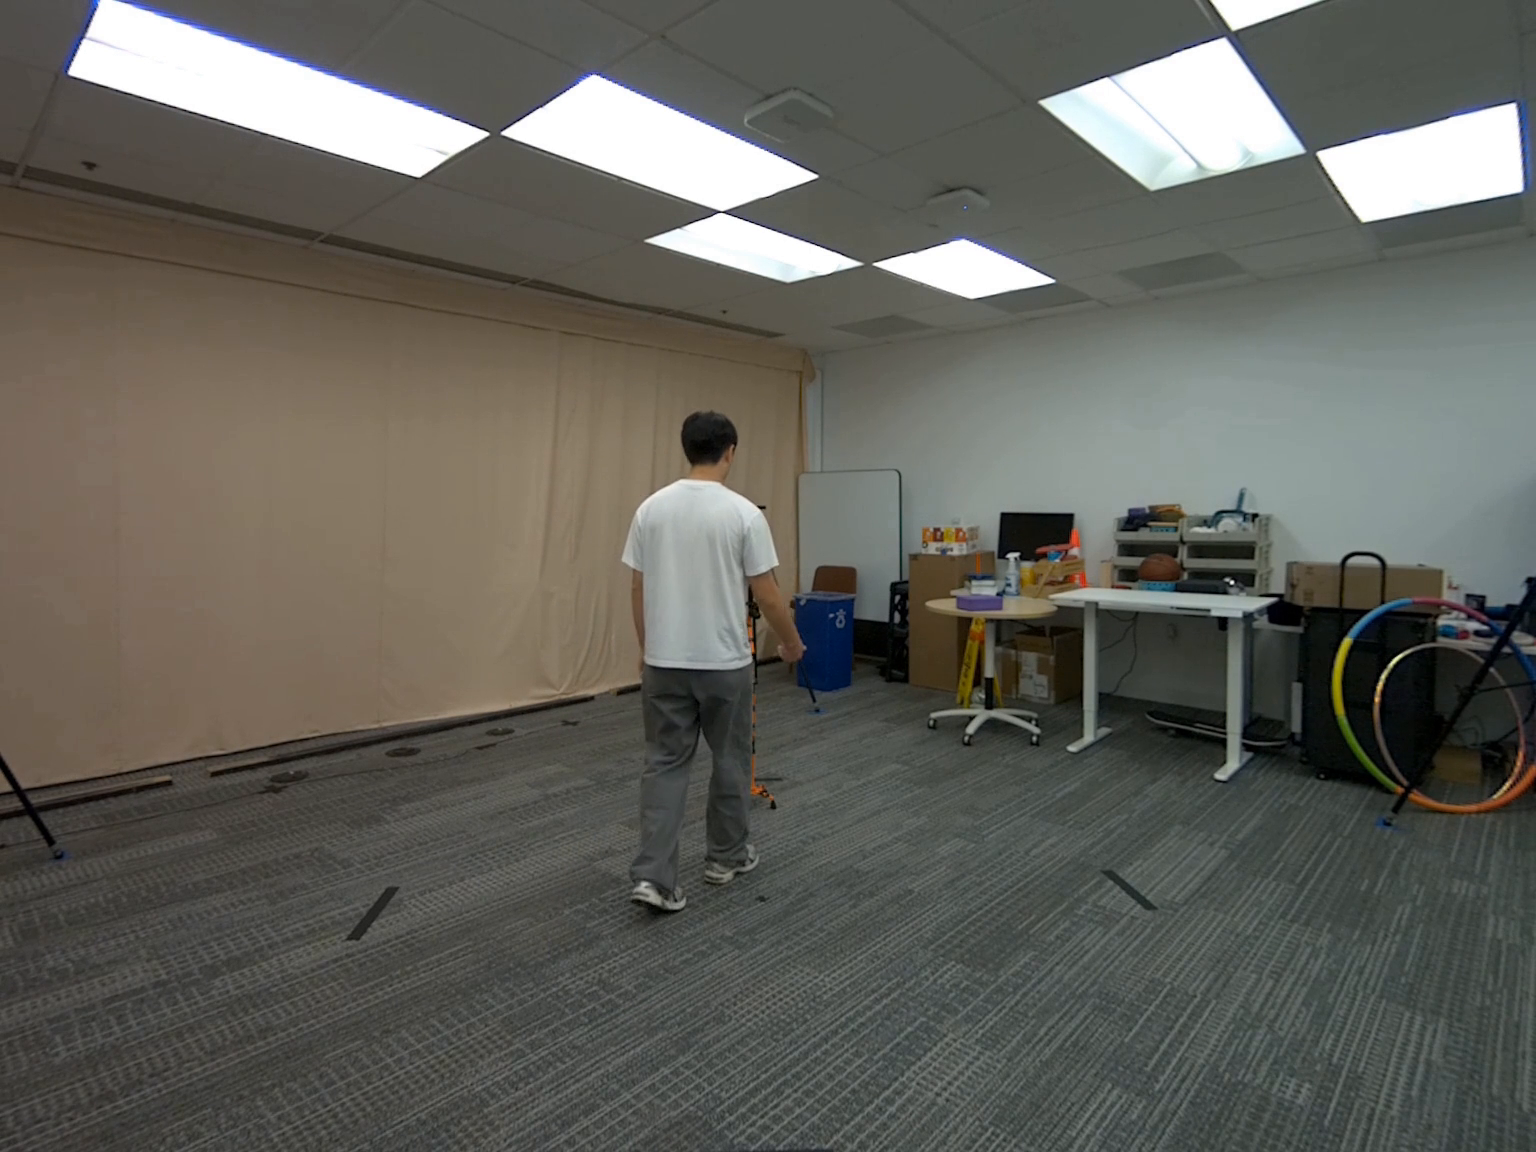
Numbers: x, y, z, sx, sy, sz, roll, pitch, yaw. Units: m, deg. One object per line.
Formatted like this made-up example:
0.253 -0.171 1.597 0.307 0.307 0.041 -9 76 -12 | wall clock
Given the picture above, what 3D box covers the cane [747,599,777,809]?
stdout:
-0.054 0.614 3.932 0.150 0.906 0.209 -1 2 -12 | cane
